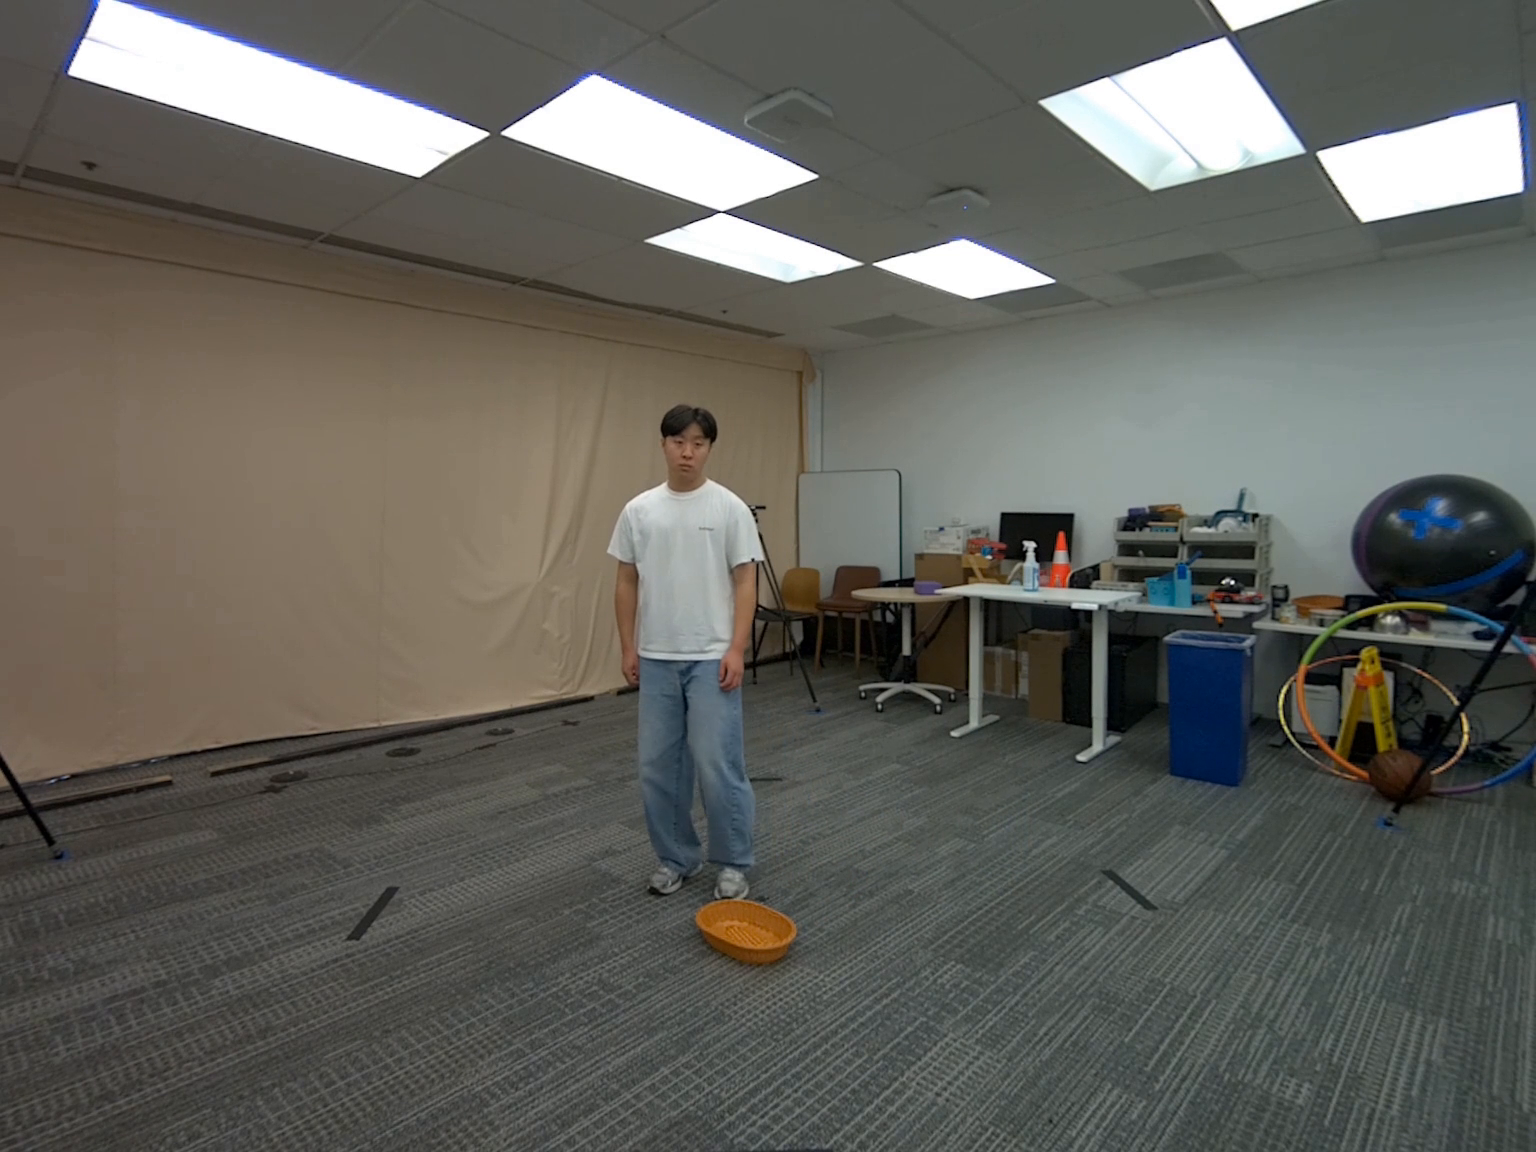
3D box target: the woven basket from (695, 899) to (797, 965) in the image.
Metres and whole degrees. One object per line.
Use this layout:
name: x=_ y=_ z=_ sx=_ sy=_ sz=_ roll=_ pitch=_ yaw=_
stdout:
woven basket: x=-0.070 y=1.128 z=2.674 sx=0.362 sy=0.073 sz=0.245 roll=4 pitch=6 yaw=42
